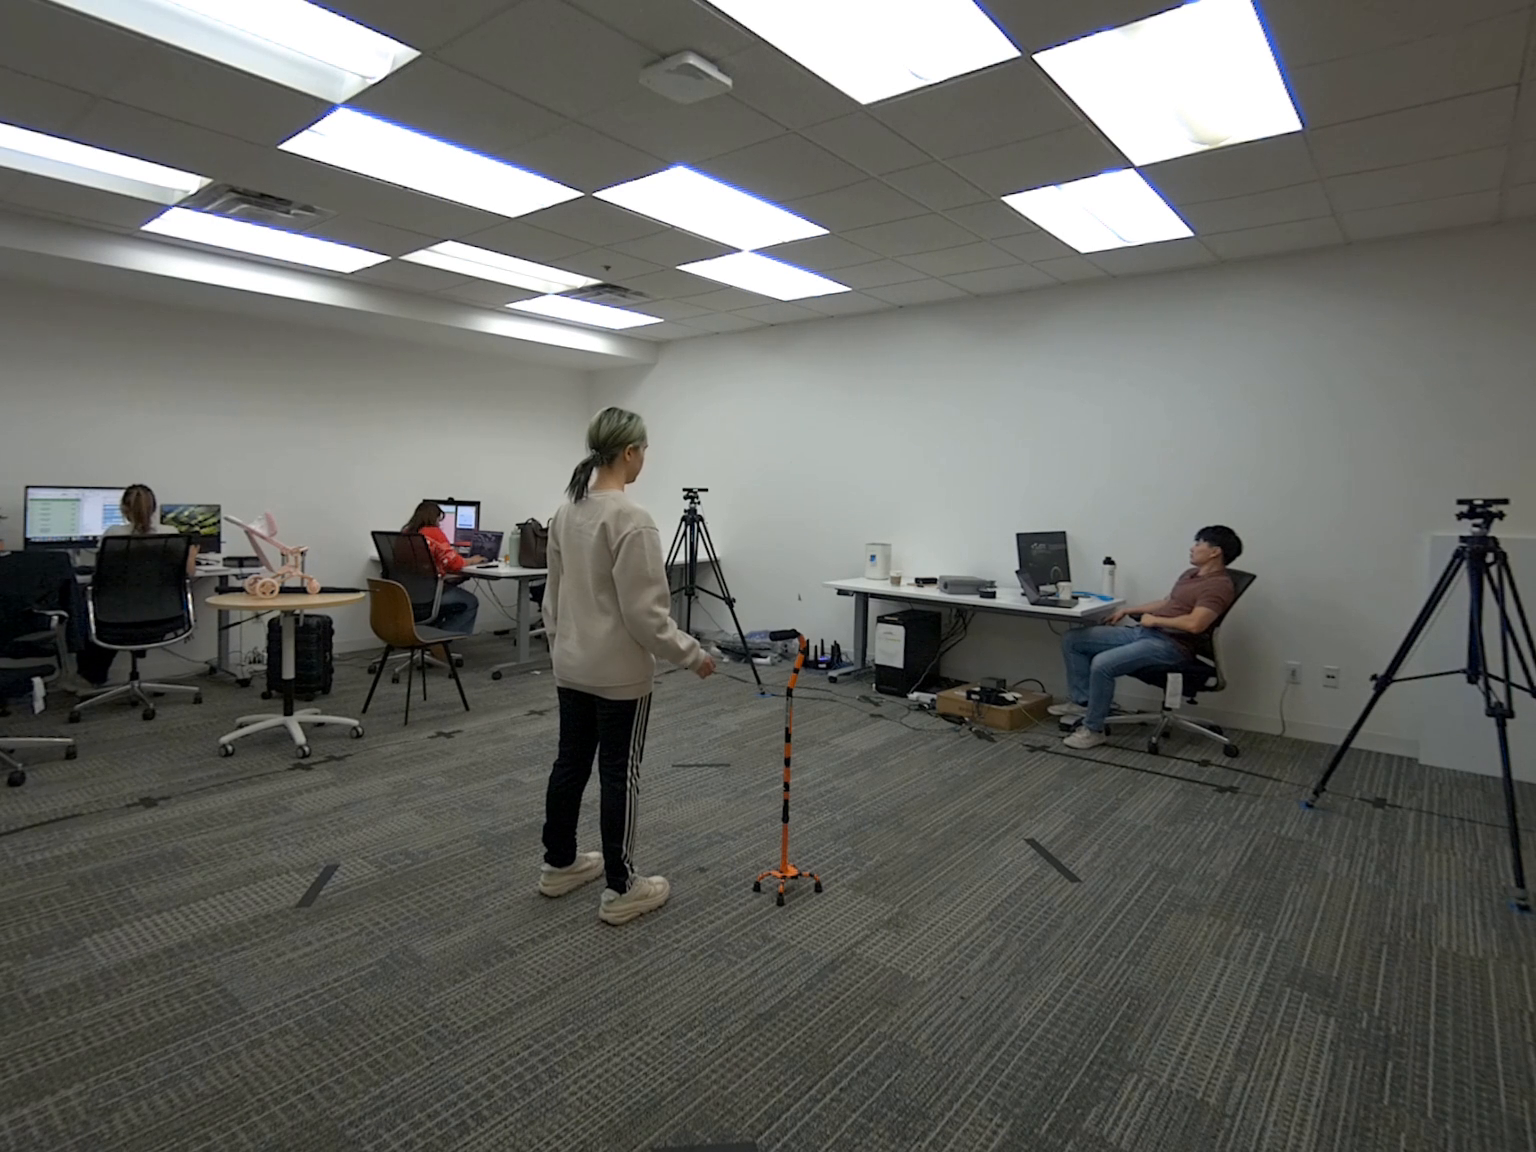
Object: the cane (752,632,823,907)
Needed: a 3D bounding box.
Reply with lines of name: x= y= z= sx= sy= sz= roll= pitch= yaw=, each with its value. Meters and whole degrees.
cane: x=0.071 y=0.638 z=2.934 sx=0.200 sy=0.905 sz=0.157 roll=-1 pitch=4 yaw=-39
